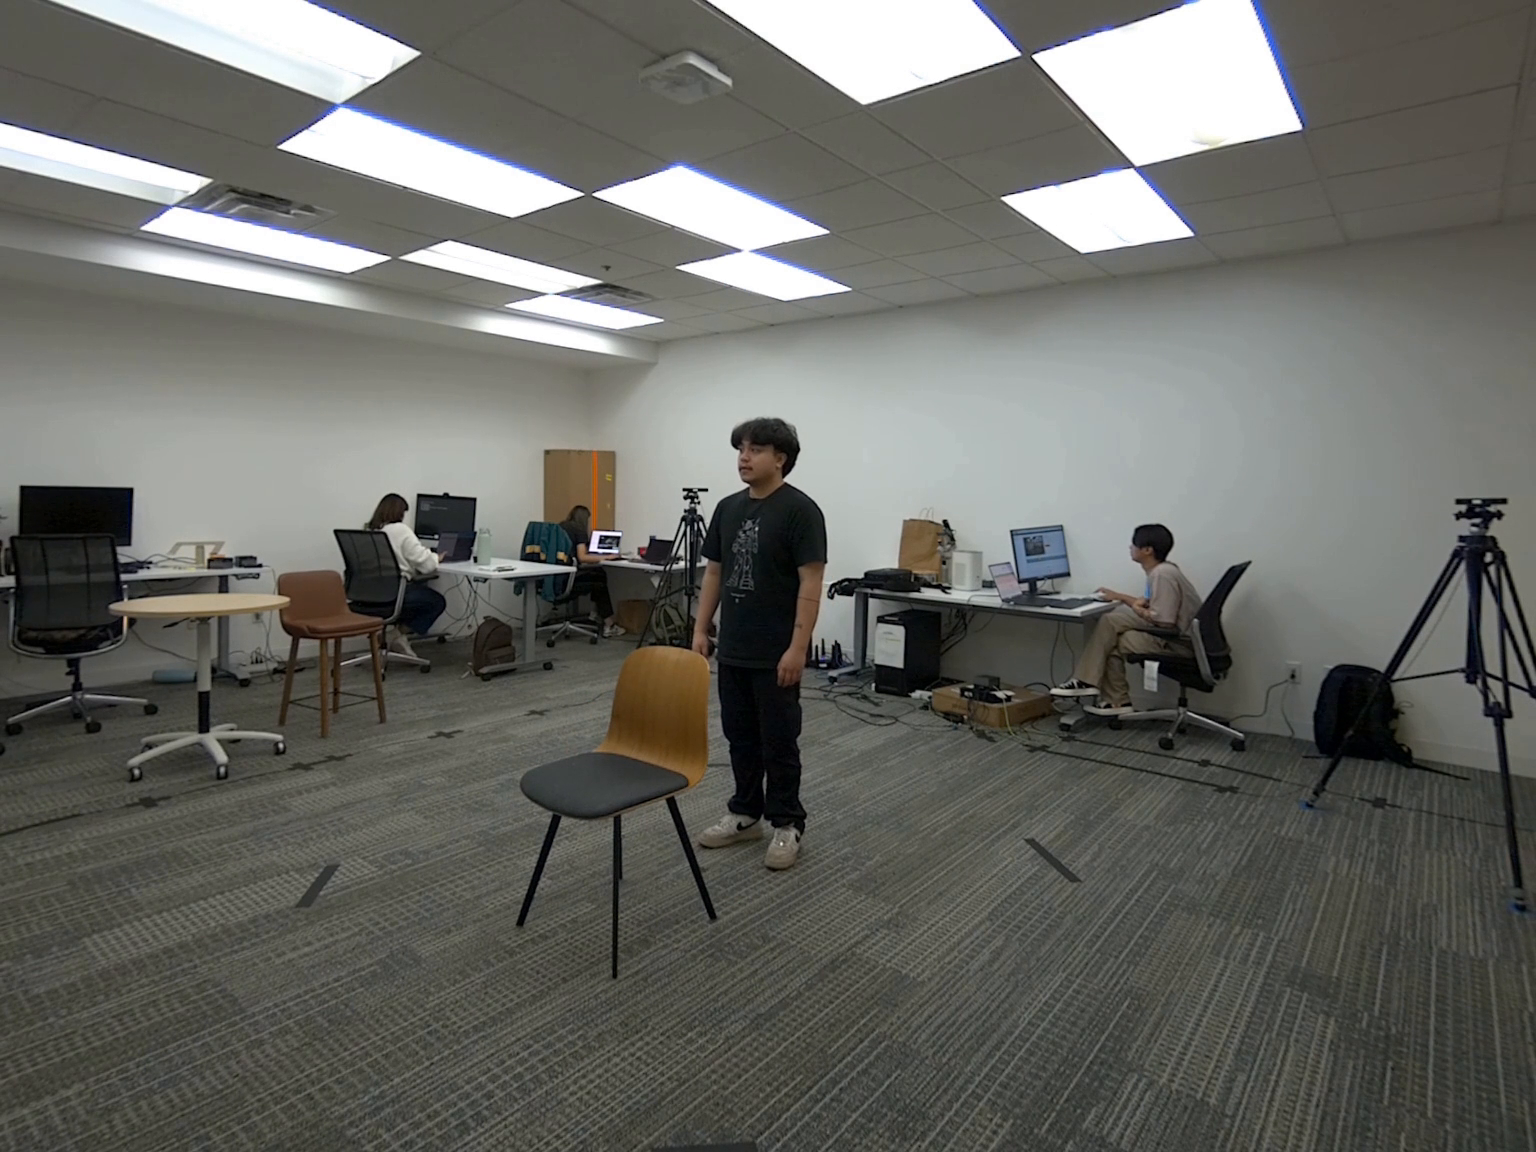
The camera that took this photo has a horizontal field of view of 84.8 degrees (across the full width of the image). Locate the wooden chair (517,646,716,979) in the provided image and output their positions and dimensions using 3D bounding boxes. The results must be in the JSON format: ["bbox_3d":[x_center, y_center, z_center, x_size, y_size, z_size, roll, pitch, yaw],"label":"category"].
[{"bbox_3d":[-0.487,0.681,2.679,0.494,0.878,0.506,3,0,38],"label":"wooden chair"}]
